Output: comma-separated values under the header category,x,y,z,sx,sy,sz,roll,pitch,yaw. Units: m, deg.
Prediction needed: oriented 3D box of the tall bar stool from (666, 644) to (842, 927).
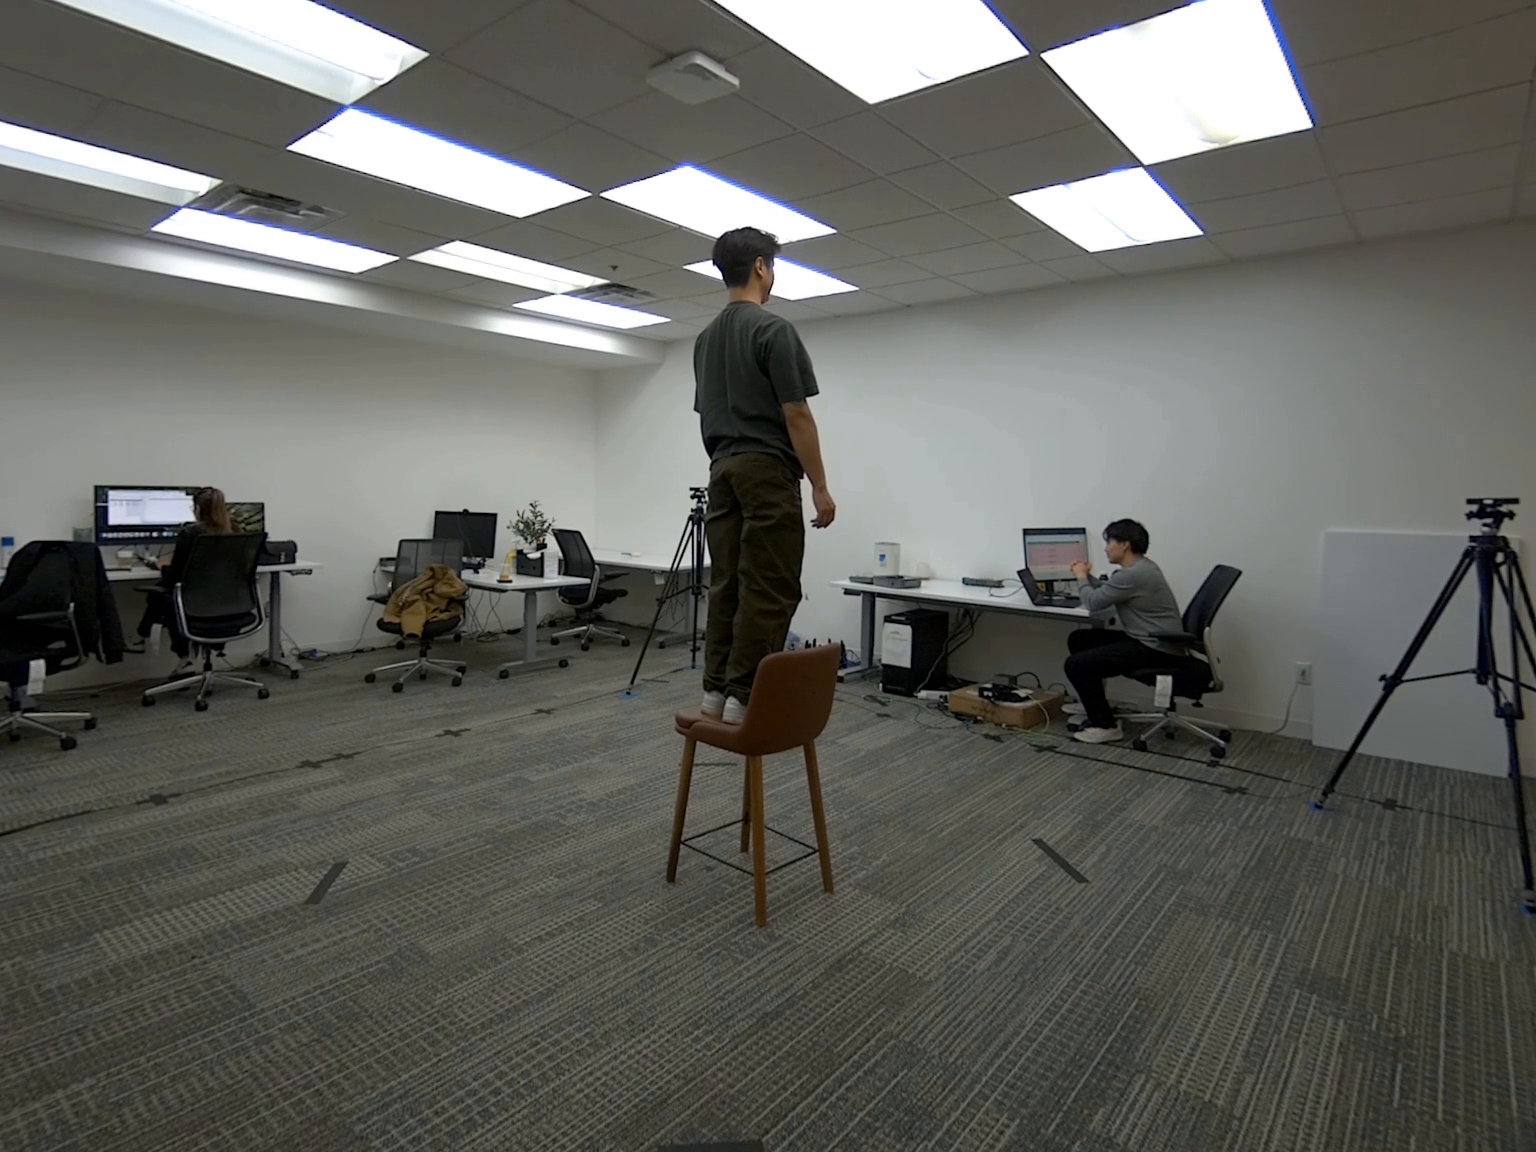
category,x,y,z,sx,sy,sz,roll,pitch,yaw
tall bar stool,-0.053,0.647,2.959,0.484,0.886,0.442,7,6,43
